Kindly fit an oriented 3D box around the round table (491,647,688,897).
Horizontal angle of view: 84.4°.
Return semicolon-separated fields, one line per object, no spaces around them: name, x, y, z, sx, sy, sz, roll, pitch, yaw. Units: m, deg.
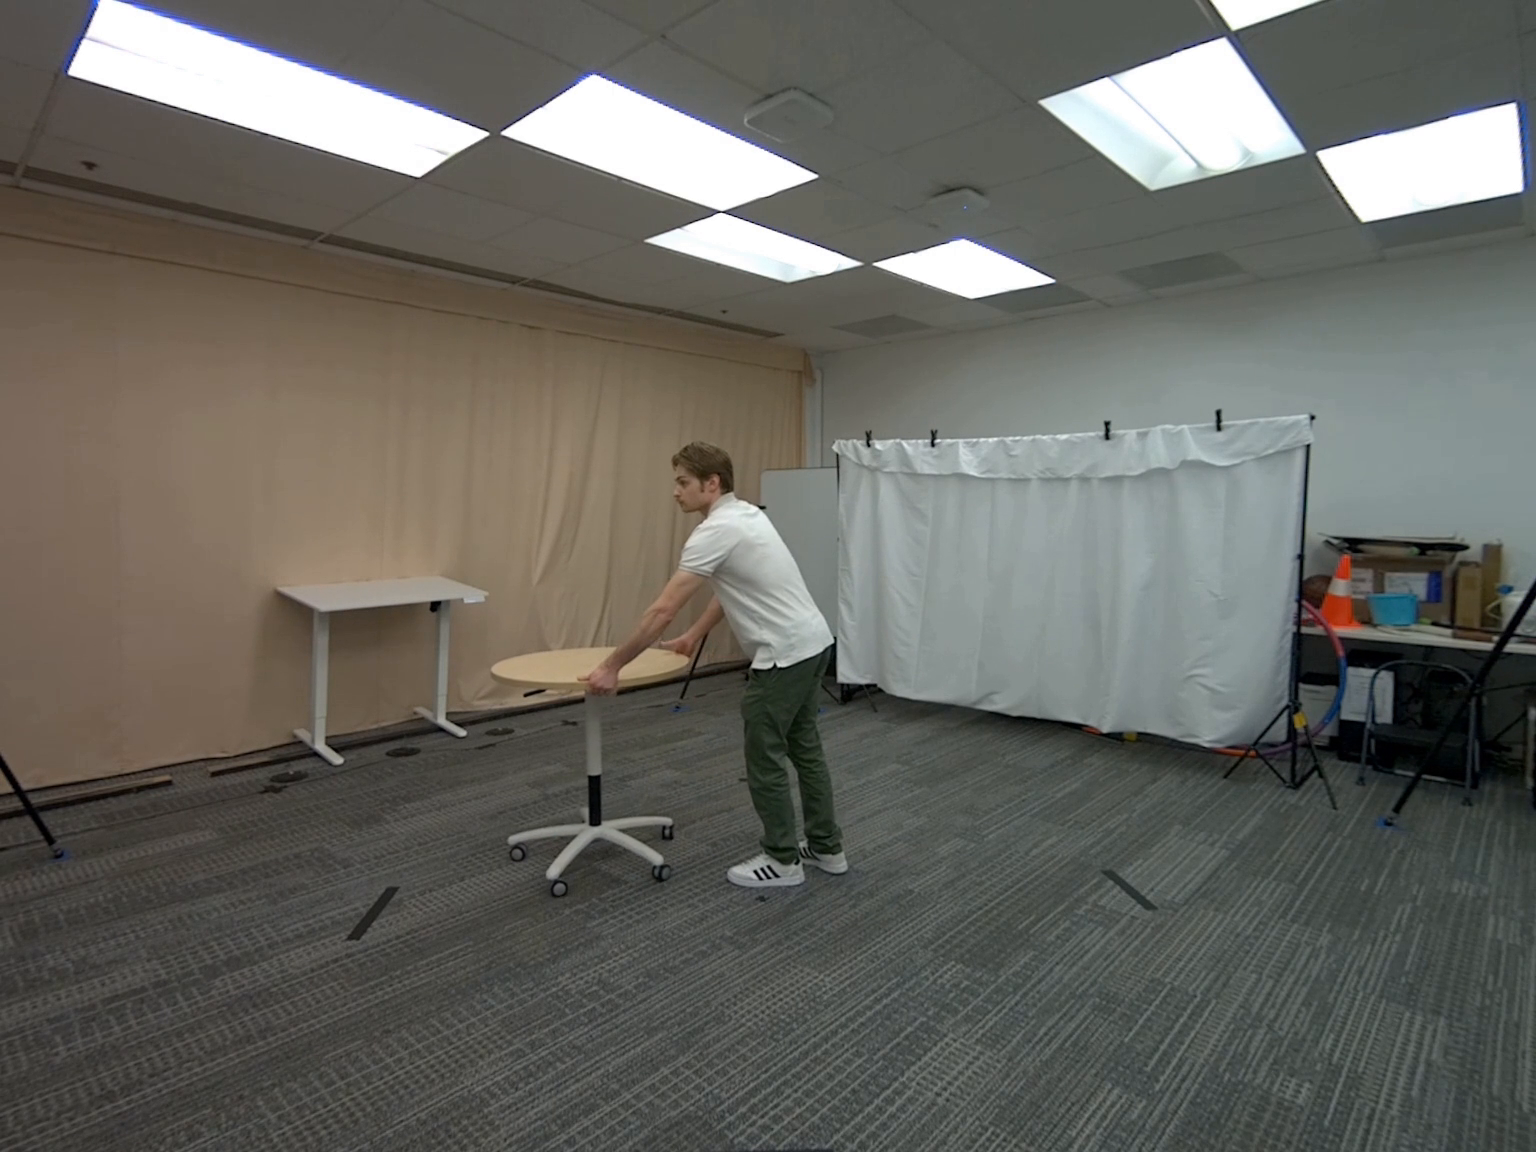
round table;-0.688;0.736;3.318;0.763;0.792;0.766;-1;3;-2
